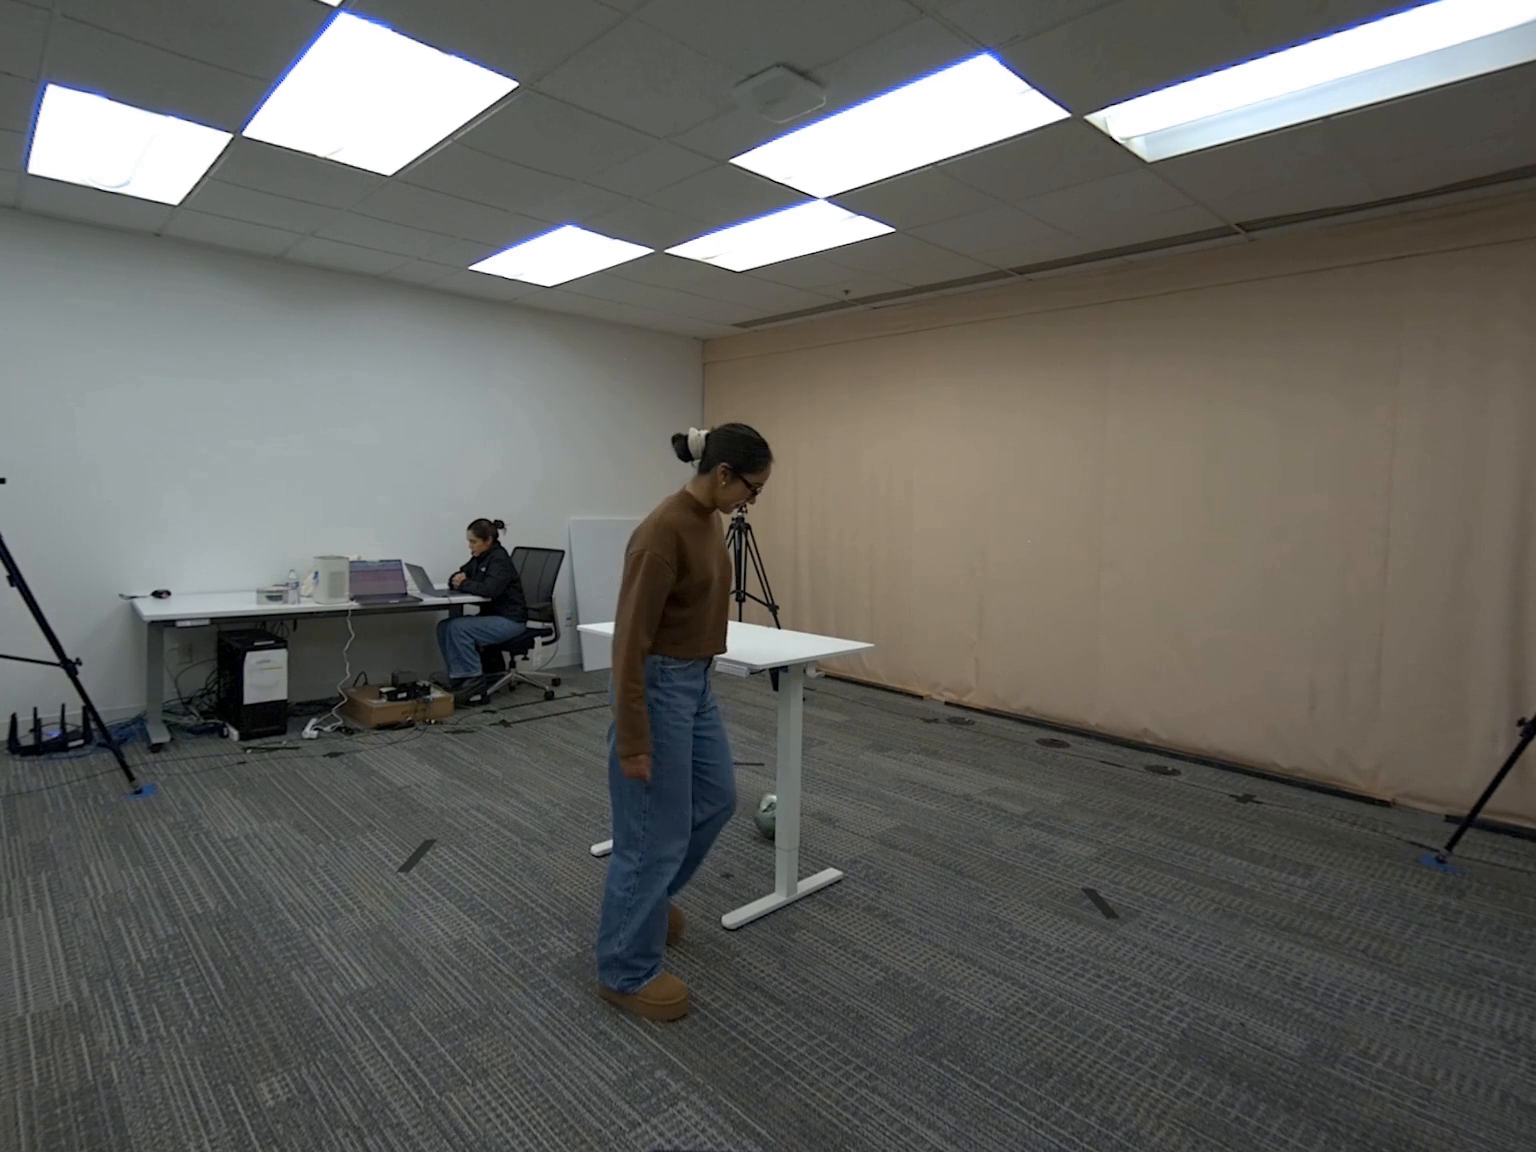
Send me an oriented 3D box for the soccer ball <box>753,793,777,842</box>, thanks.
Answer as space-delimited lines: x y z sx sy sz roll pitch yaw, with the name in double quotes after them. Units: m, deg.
0.028 0.985 3.476 0.187 0.187 0.188 1 4 -1 "soccer ball"
